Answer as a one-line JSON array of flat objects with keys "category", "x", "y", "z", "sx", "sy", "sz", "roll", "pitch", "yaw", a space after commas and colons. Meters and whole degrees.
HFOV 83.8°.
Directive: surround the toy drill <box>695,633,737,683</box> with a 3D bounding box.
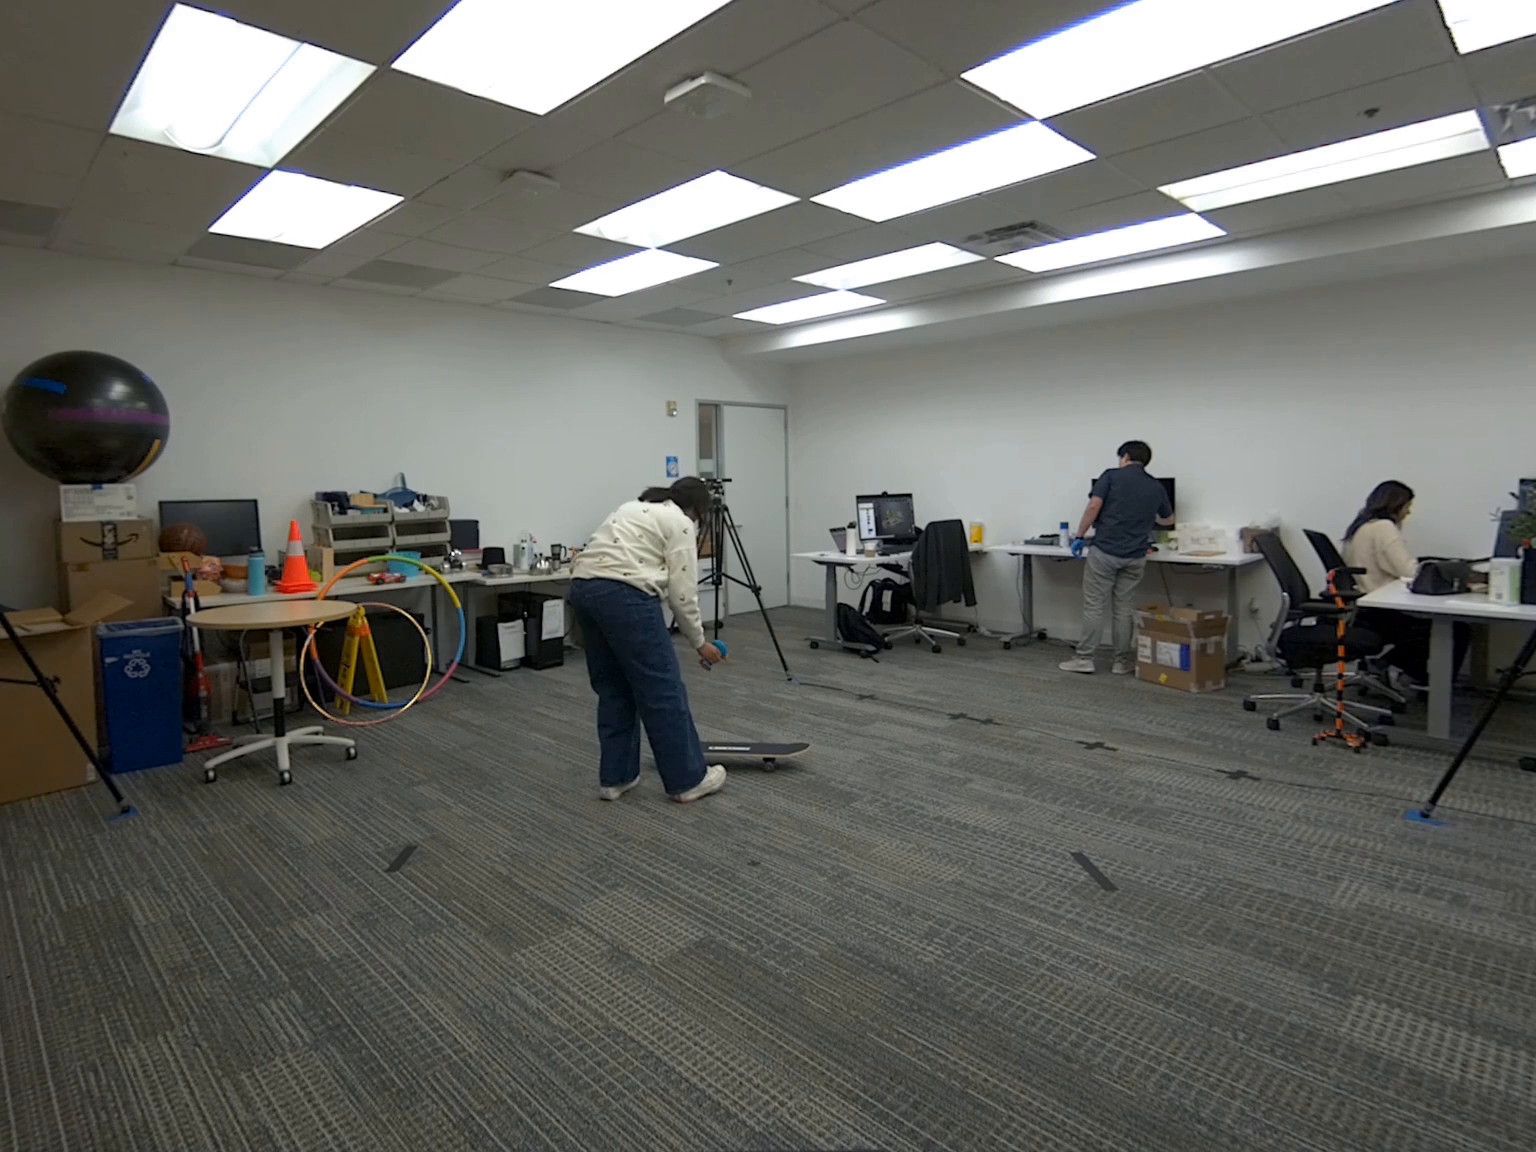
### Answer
[{"category": "toy drill", "x": -0.241, "y": 0.378, "z": 3.969, "sx": 0.063, "sy": 0.146, "sz": 0.163, "roll": 18, "pitch": -26, "yaw": 36}]
